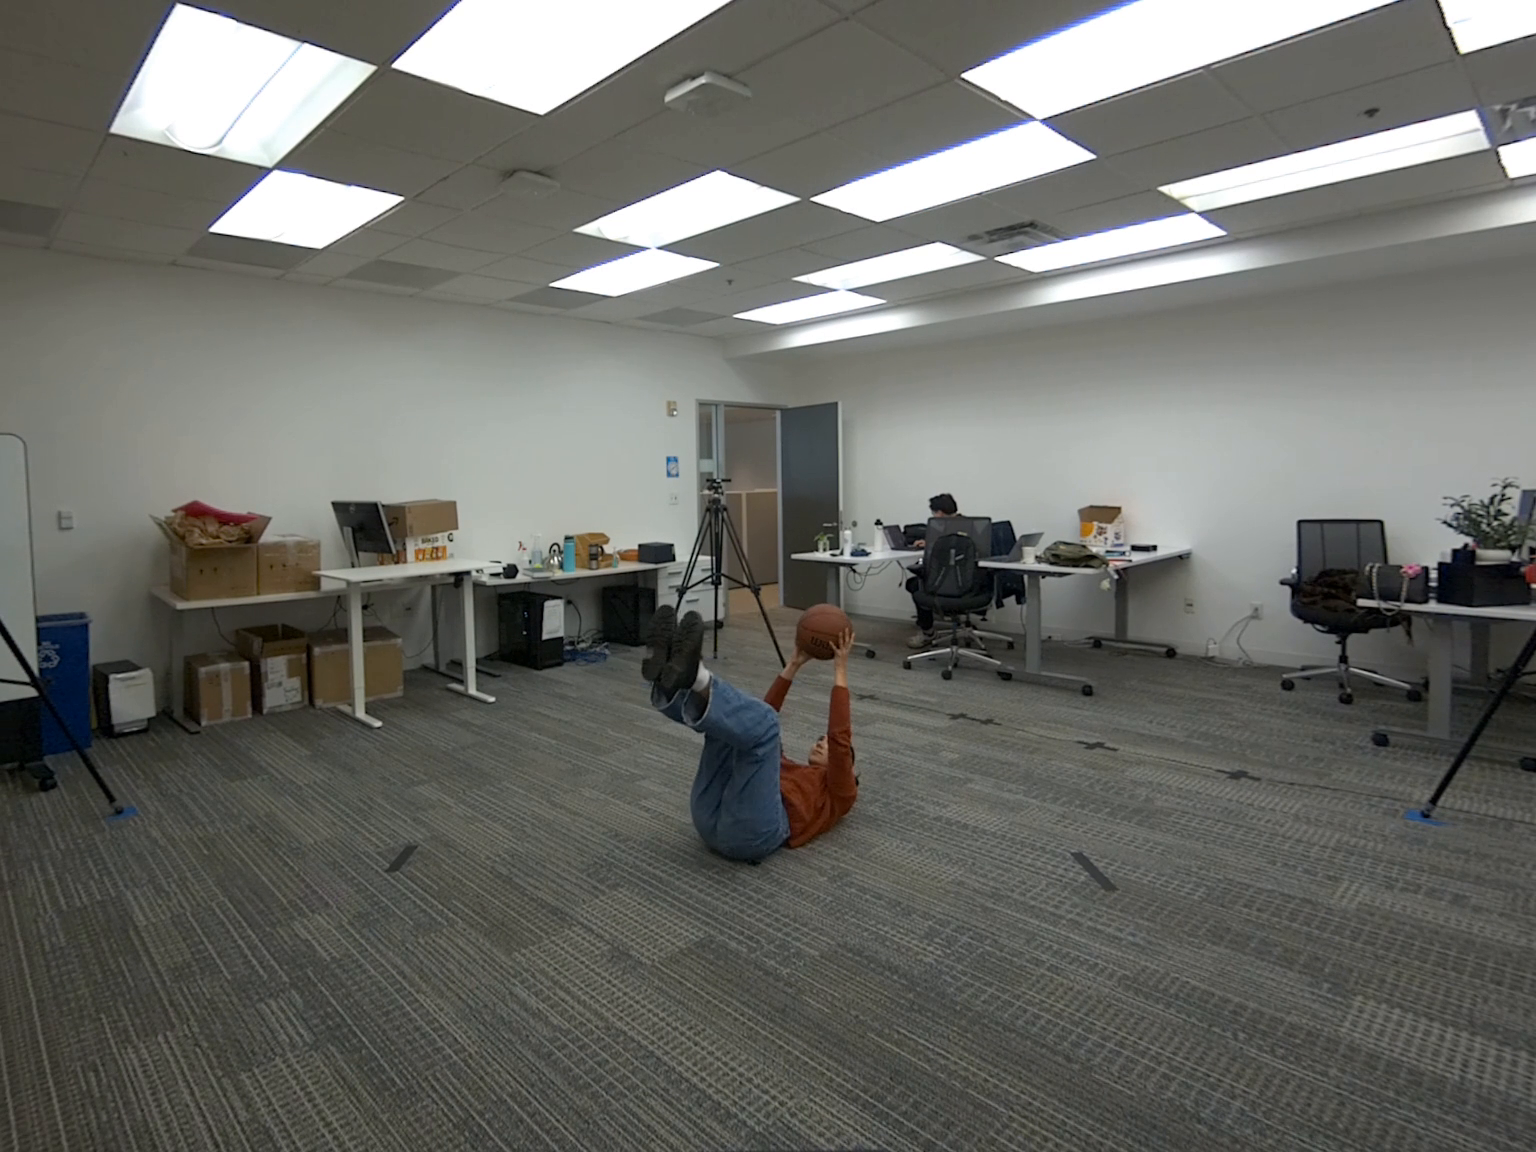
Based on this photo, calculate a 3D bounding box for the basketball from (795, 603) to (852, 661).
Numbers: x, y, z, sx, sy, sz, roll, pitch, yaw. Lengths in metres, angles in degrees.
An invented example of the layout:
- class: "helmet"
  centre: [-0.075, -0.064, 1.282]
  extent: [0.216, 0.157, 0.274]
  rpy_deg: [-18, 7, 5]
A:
- class: "basketball"
  centre: [0.242, 0.242, 3.590]
  extent: [0.236, 0.236, 0.236]
  rpy_deg: [0, 1, -2]
